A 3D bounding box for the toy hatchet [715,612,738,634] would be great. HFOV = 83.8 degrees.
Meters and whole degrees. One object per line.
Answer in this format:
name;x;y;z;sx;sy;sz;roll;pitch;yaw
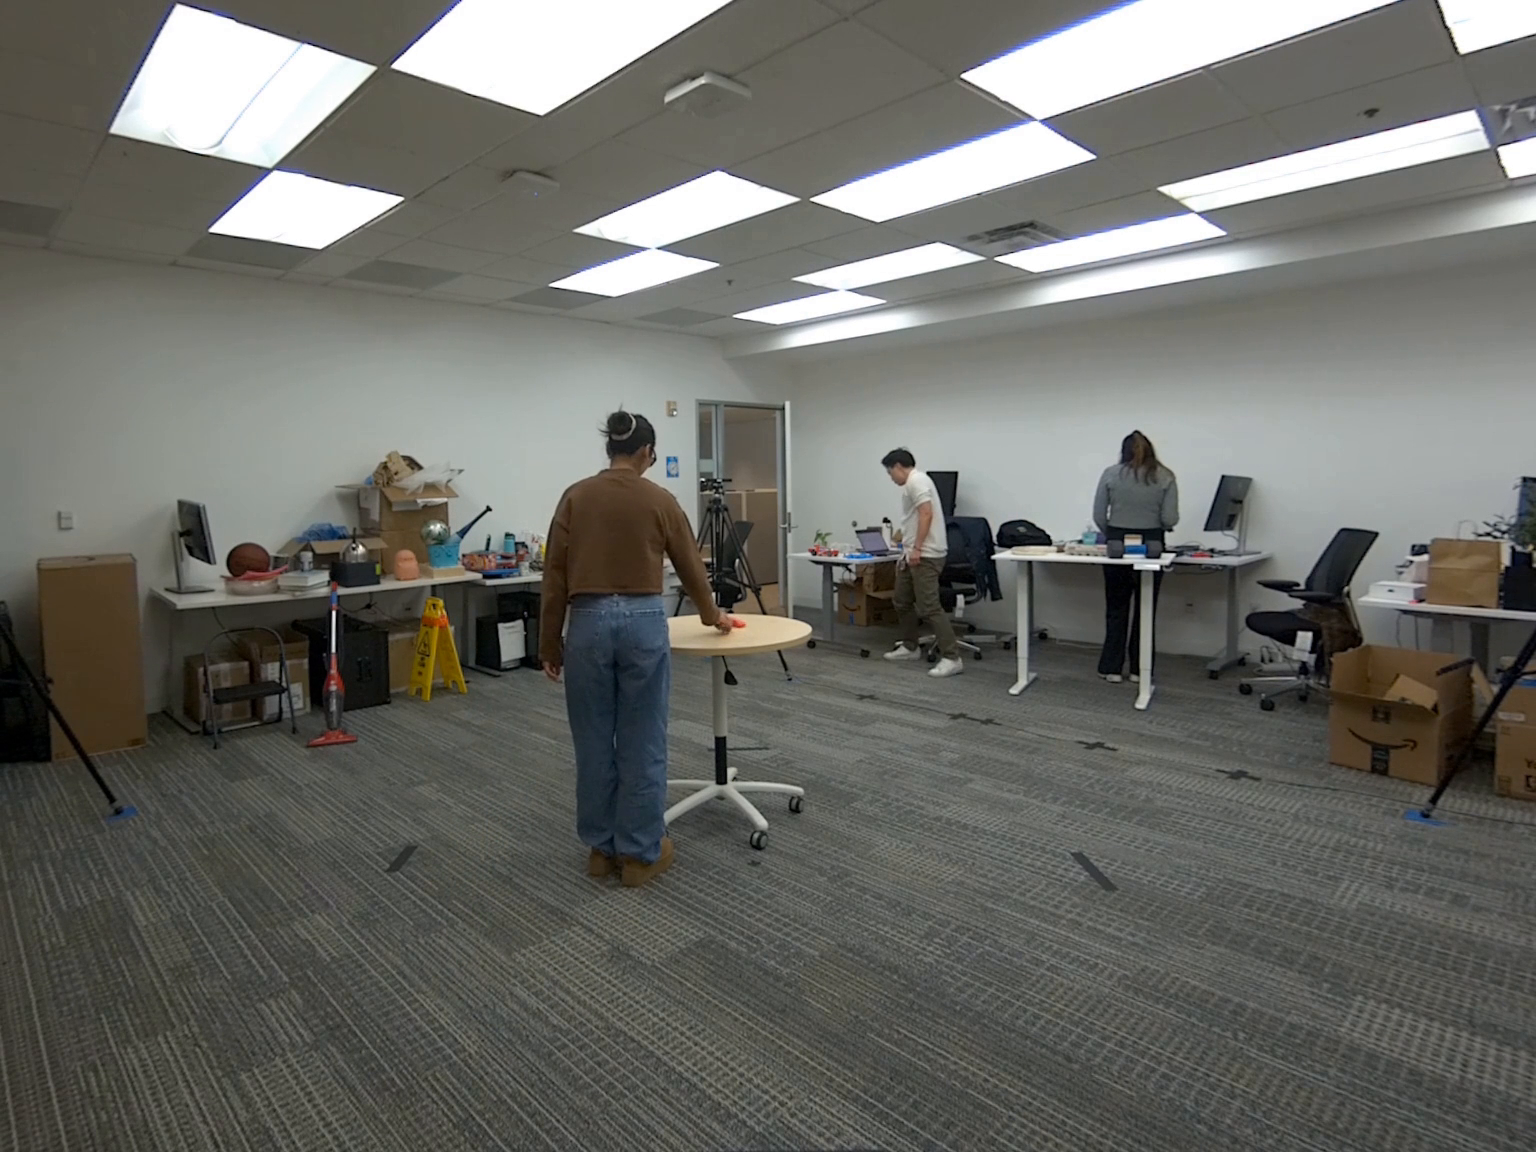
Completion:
toy hatchet;-0.132;0.197;3.479;0.130;0.029;0.273;14;5;-8
